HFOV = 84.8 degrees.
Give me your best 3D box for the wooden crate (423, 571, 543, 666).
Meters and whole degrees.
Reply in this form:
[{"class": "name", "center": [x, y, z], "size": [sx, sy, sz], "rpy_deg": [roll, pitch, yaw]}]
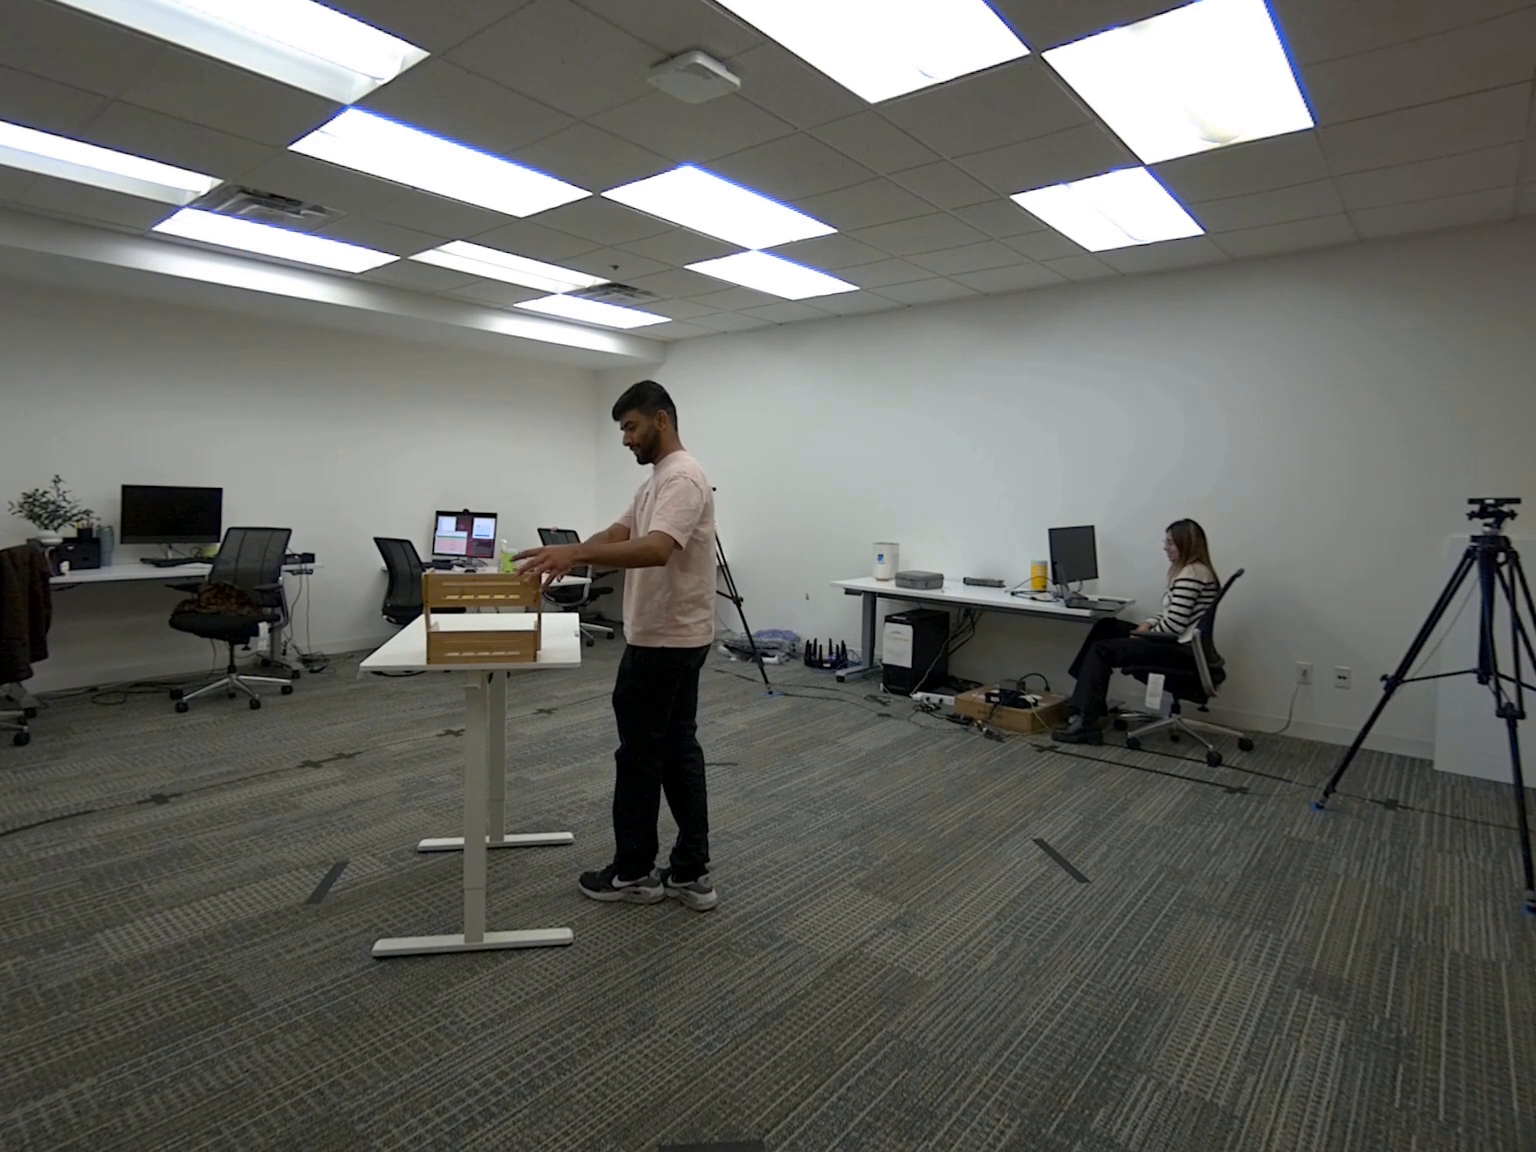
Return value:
[{"class": "wooden crate", "center": [-0.835, 0.100, 2.493], "size": [0.321, 0.272, 0.307], "rpy_deg": [-1, 7, -10]}]
